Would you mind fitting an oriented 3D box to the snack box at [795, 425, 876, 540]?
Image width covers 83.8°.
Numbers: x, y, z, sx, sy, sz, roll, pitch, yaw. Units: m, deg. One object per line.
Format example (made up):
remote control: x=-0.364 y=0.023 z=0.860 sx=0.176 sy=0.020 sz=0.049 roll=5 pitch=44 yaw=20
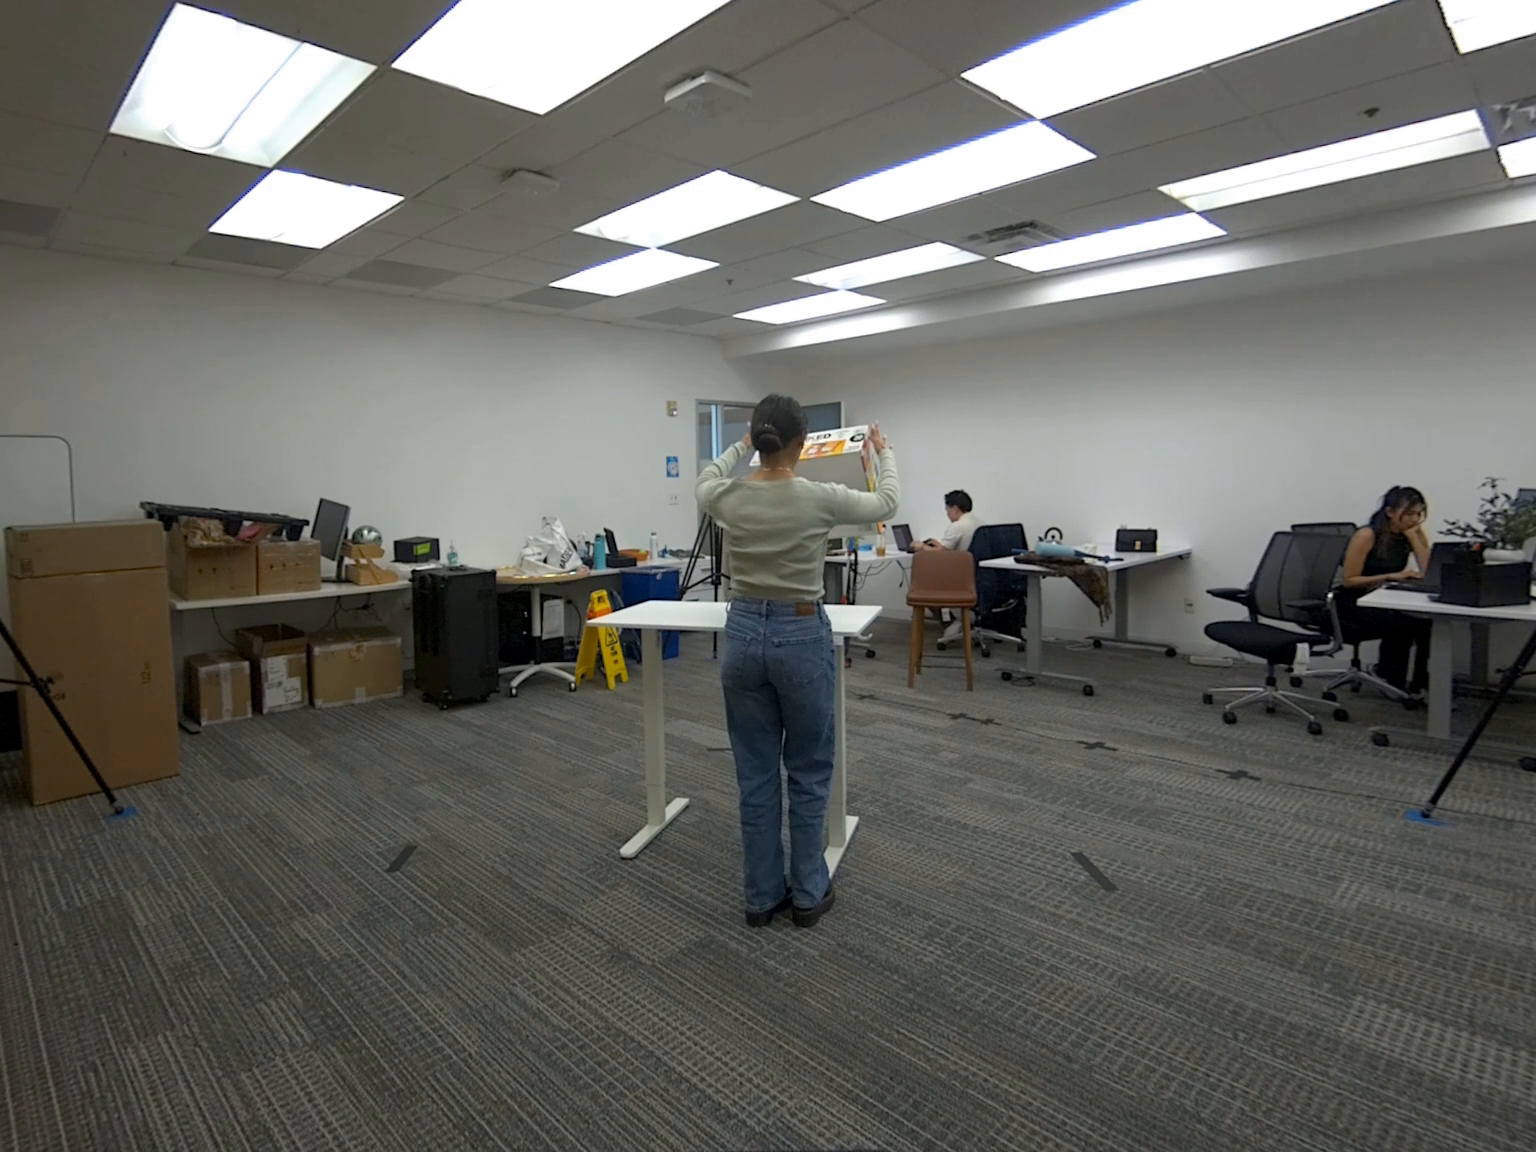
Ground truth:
snack box: x=0.195 y=-0.325 z=3.106 sx=0.412 sy=0.330 sz=0.208 roll=-6 pitch=31 yaw=22
